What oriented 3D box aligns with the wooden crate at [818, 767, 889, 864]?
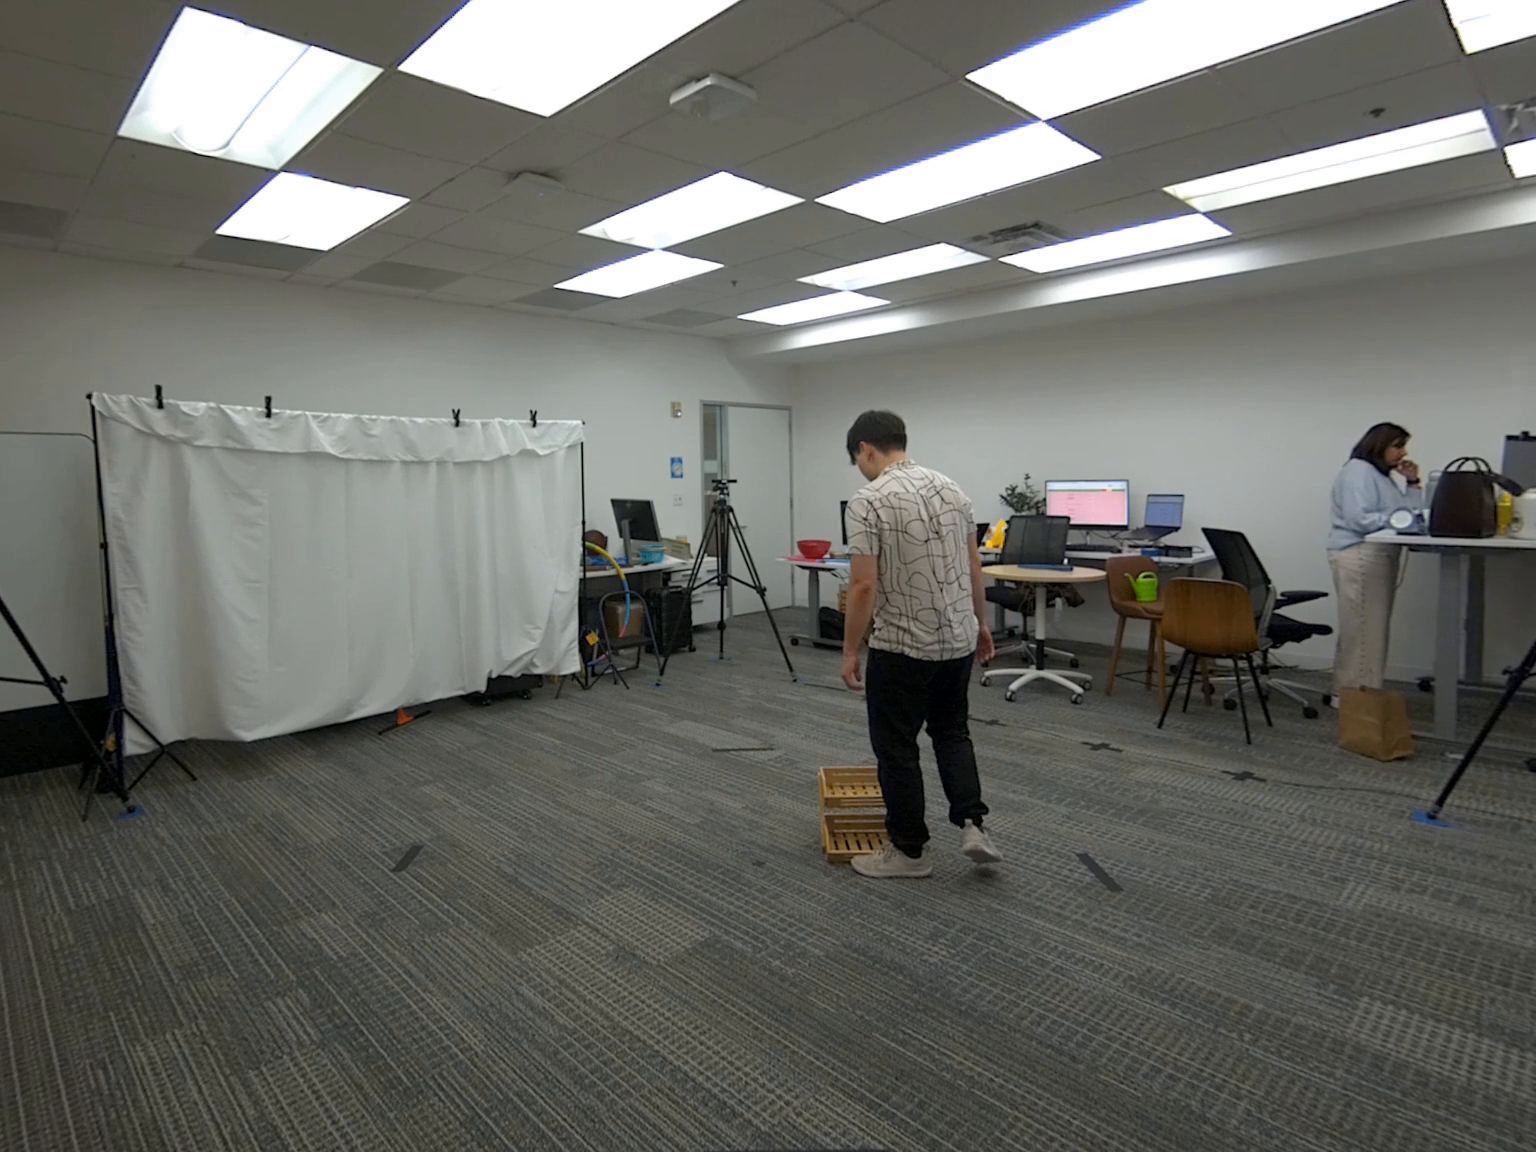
[{"bbox_3d":[0.365,0.895,3.224,0.324,0.272,0.303,-1,5,0],"label":"wooden crate"}]
